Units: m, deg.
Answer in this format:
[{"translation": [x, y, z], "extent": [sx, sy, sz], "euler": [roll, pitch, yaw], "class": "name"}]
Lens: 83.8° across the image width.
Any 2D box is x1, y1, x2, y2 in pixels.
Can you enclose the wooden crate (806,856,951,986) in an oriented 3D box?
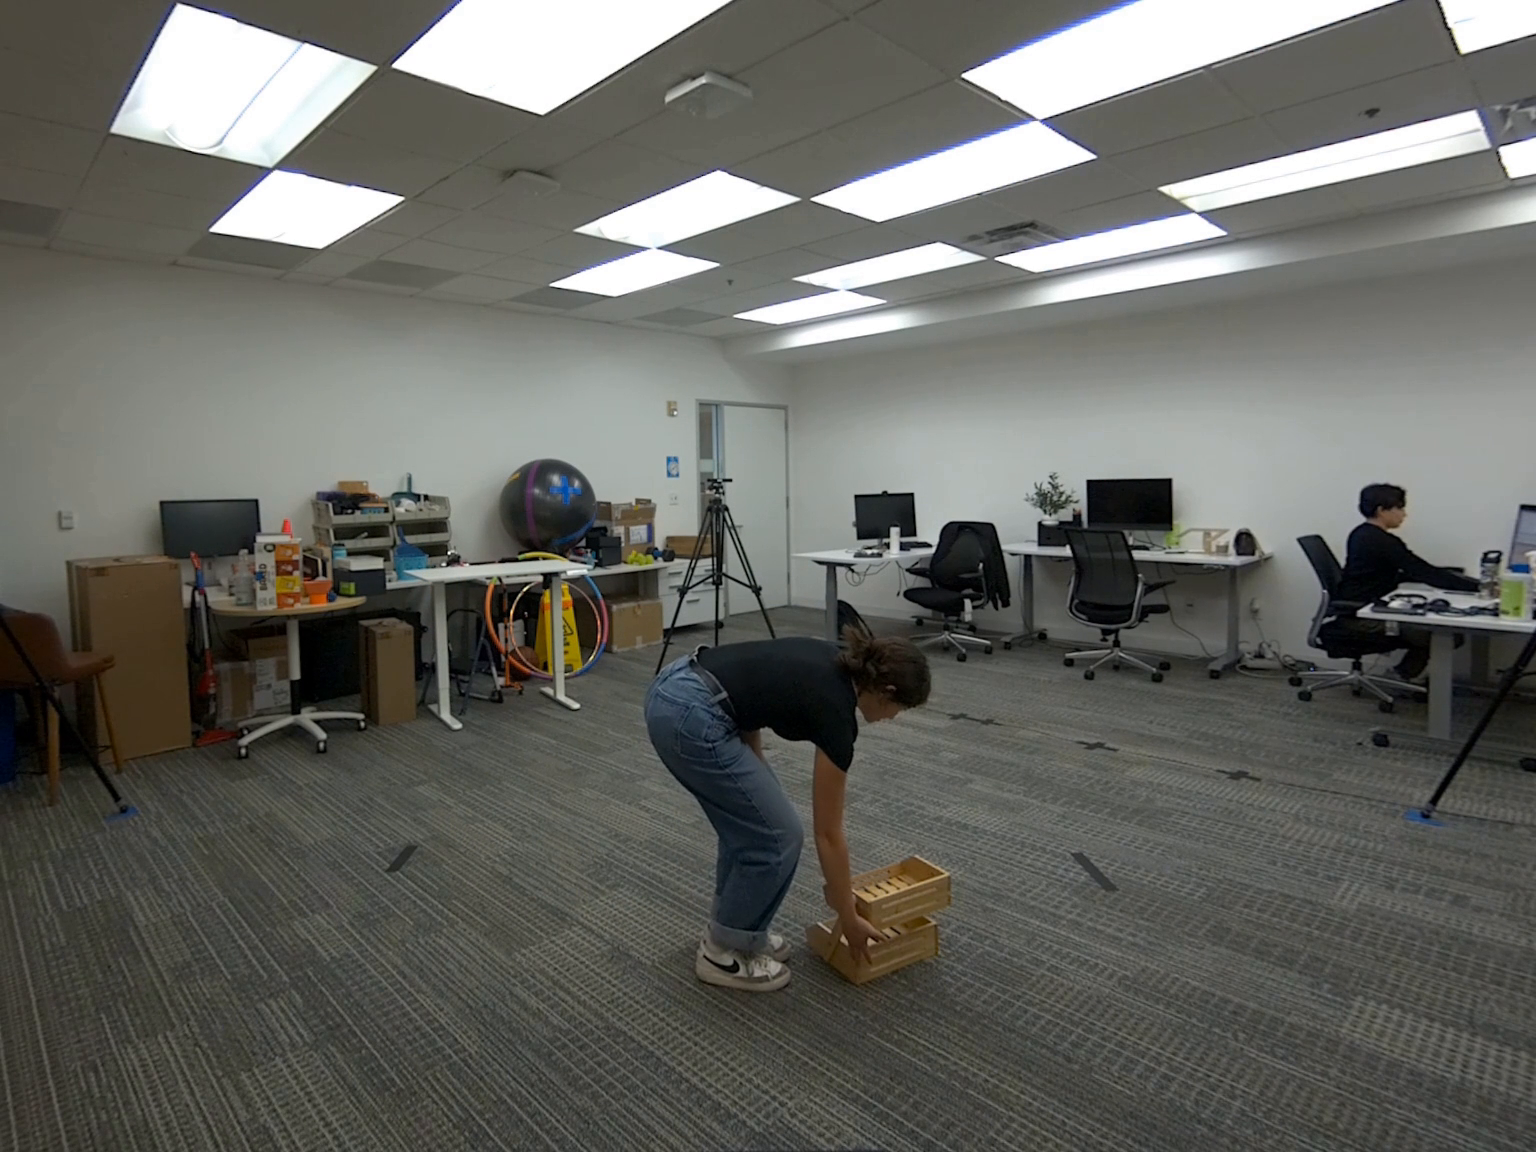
[{"translation": [0.322, 0.972, 2.506], "extent": [0.317, 0.272, 0.311], "euler": [-5, 7, -32], "class": "wooden crate"}]
